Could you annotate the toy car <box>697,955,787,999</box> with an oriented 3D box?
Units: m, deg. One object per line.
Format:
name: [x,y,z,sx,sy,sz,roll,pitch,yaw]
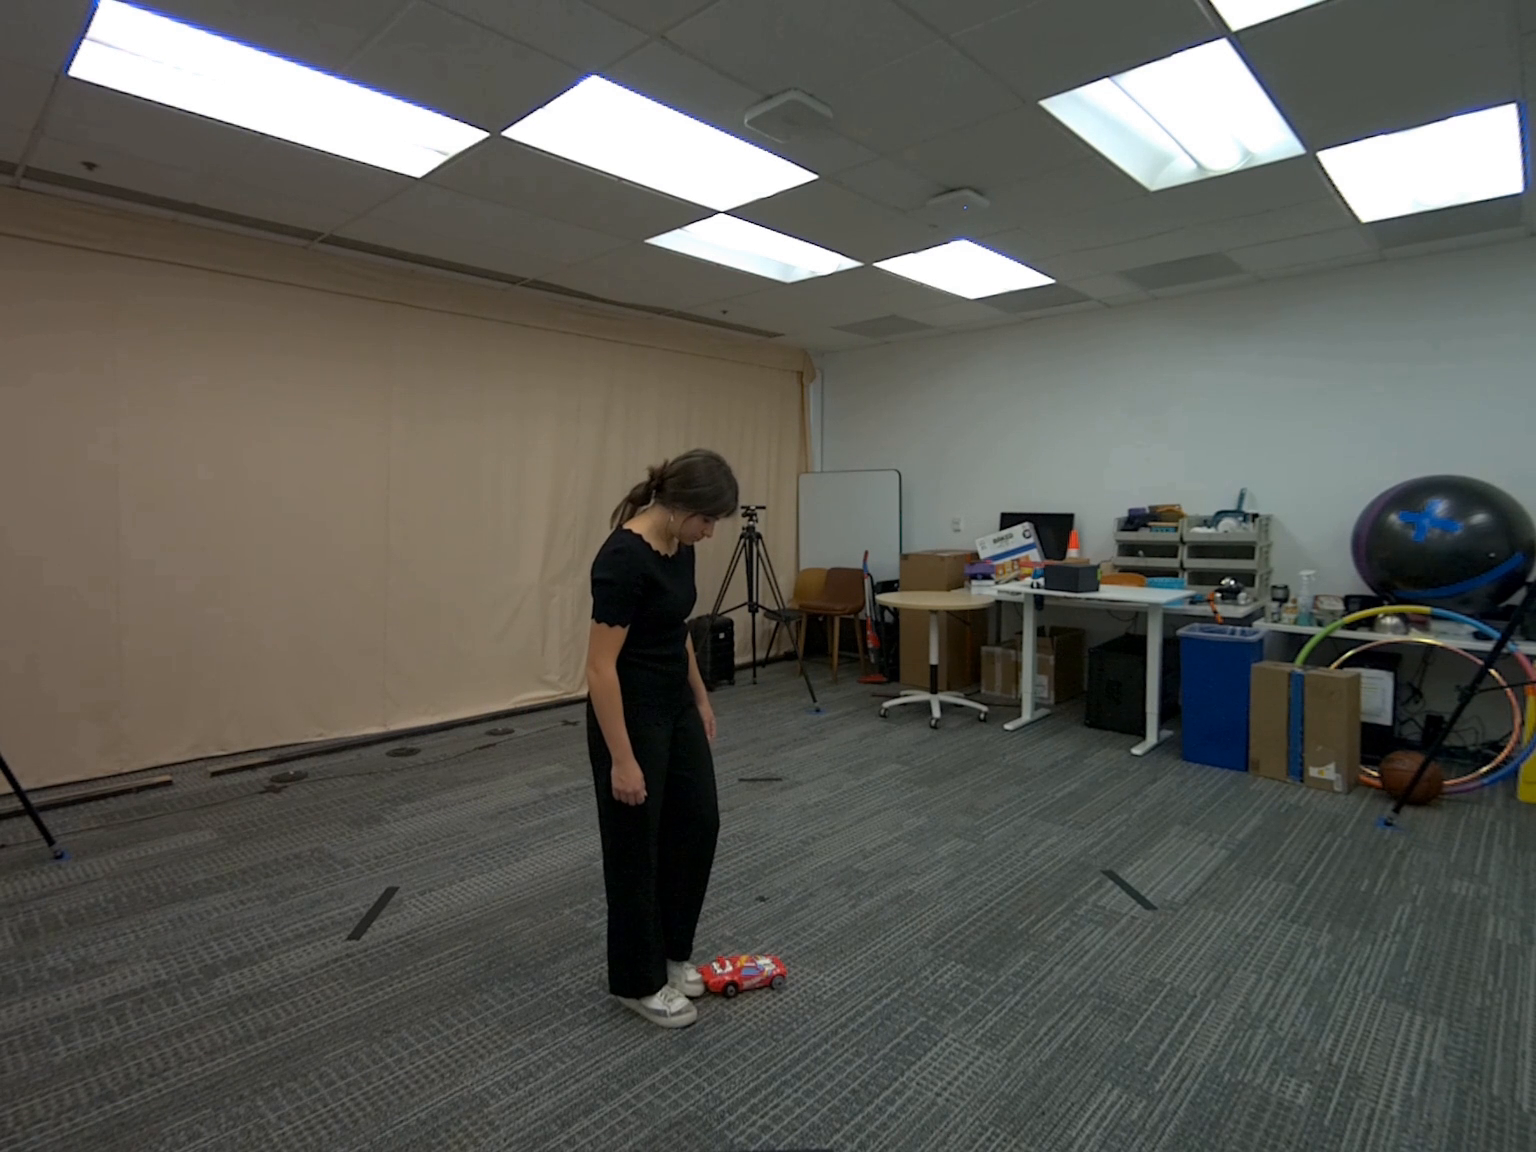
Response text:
toy car: [-0.073,1.161,2.437,0.249,0.083,0.133,11,-1,-19]
